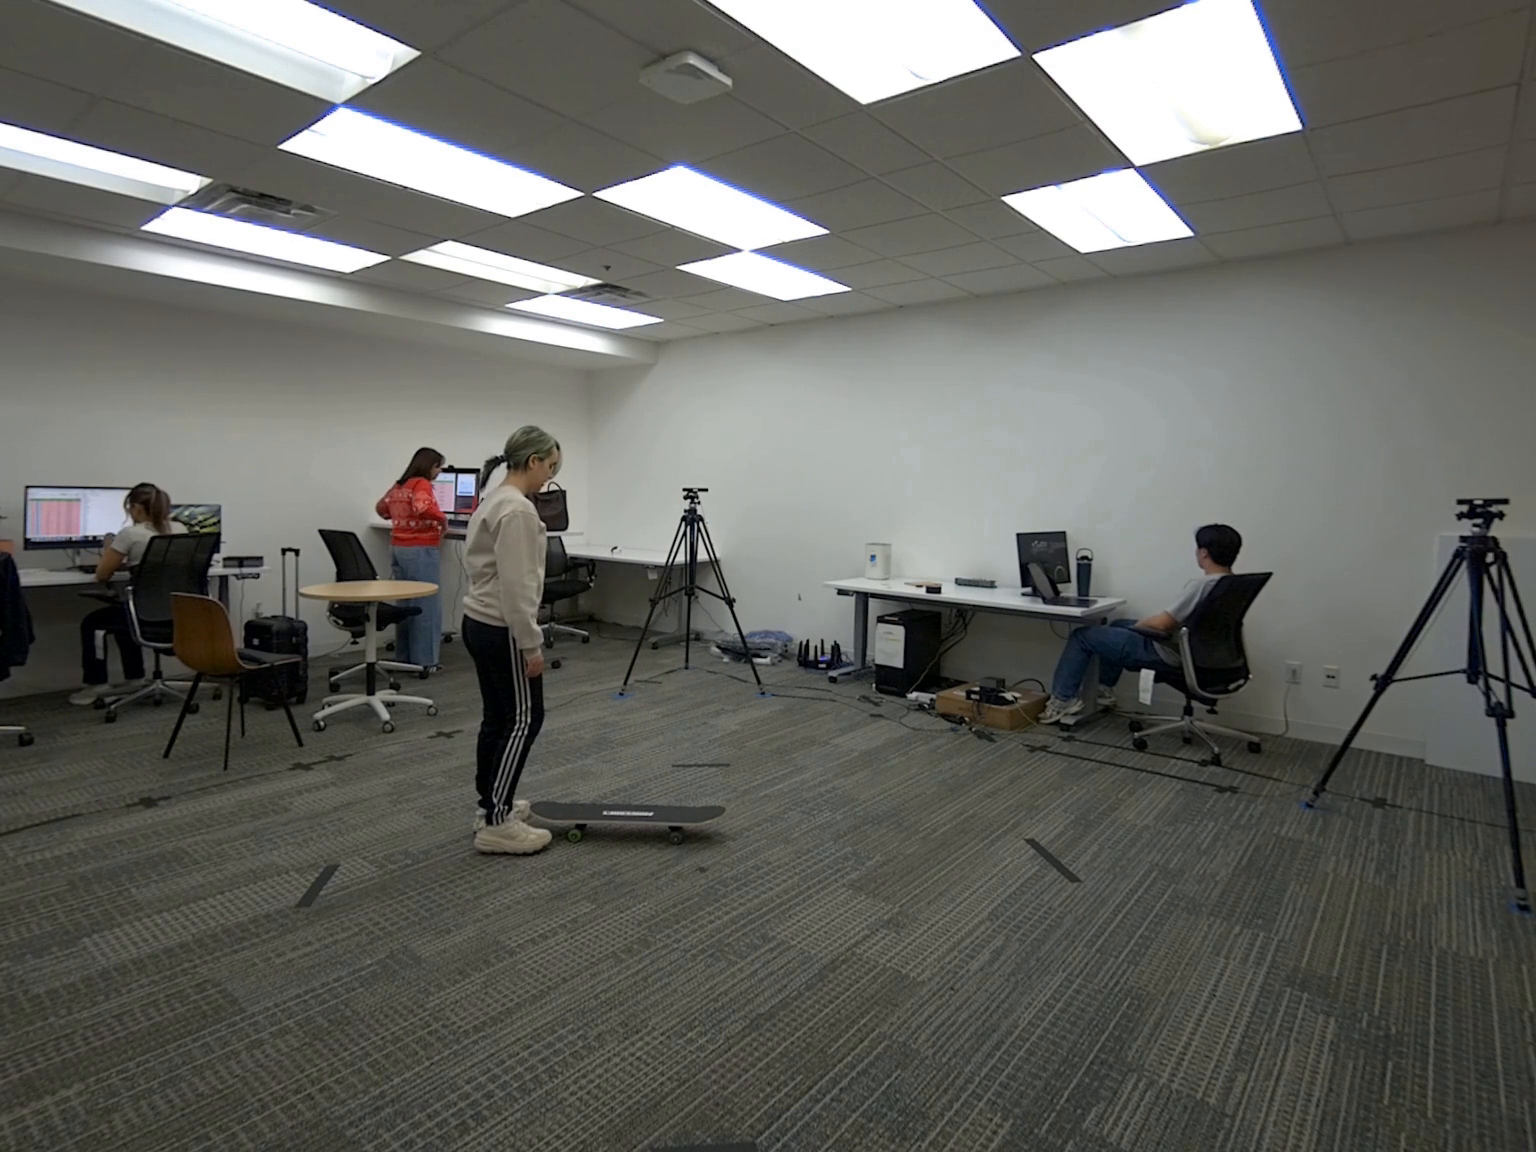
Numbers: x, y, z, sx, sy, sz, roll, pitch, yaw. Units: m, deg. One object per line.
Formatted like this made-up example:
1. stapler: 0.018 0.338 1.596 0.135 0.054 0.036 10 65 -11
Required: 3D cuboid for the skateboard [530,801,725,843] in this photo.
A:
1. skateboard: -0.567 0.985 3.410 0.785 0.110 0.194 1 4 0
